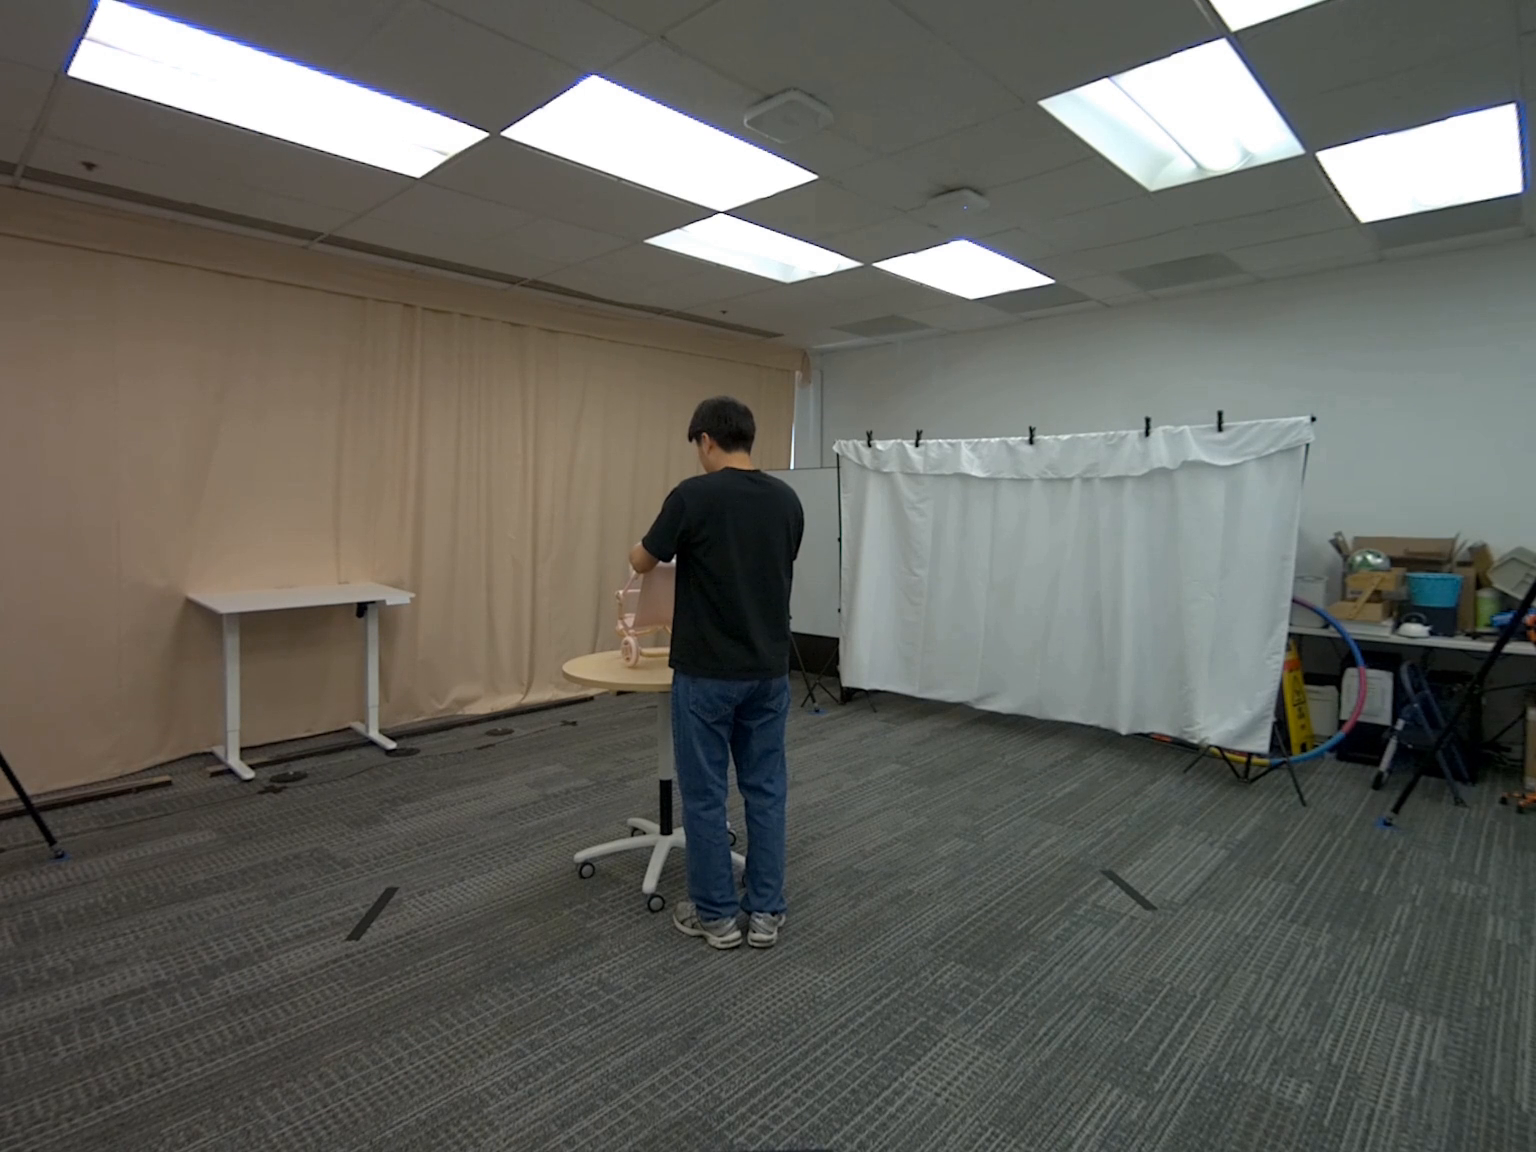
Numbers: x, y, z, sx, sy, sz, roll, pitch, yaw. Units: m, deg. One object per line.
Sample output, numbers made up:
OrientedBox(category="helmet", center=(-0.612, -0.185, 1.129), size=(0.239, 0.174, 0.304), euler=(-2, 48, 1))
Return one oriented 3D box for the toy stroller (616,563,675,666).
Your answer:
OrientedBox(category="toy stroller", center=(-0.436, 0.099, 3.221), size=(0.274, 0.531, 0.353), euler=(0, 15, -29))
